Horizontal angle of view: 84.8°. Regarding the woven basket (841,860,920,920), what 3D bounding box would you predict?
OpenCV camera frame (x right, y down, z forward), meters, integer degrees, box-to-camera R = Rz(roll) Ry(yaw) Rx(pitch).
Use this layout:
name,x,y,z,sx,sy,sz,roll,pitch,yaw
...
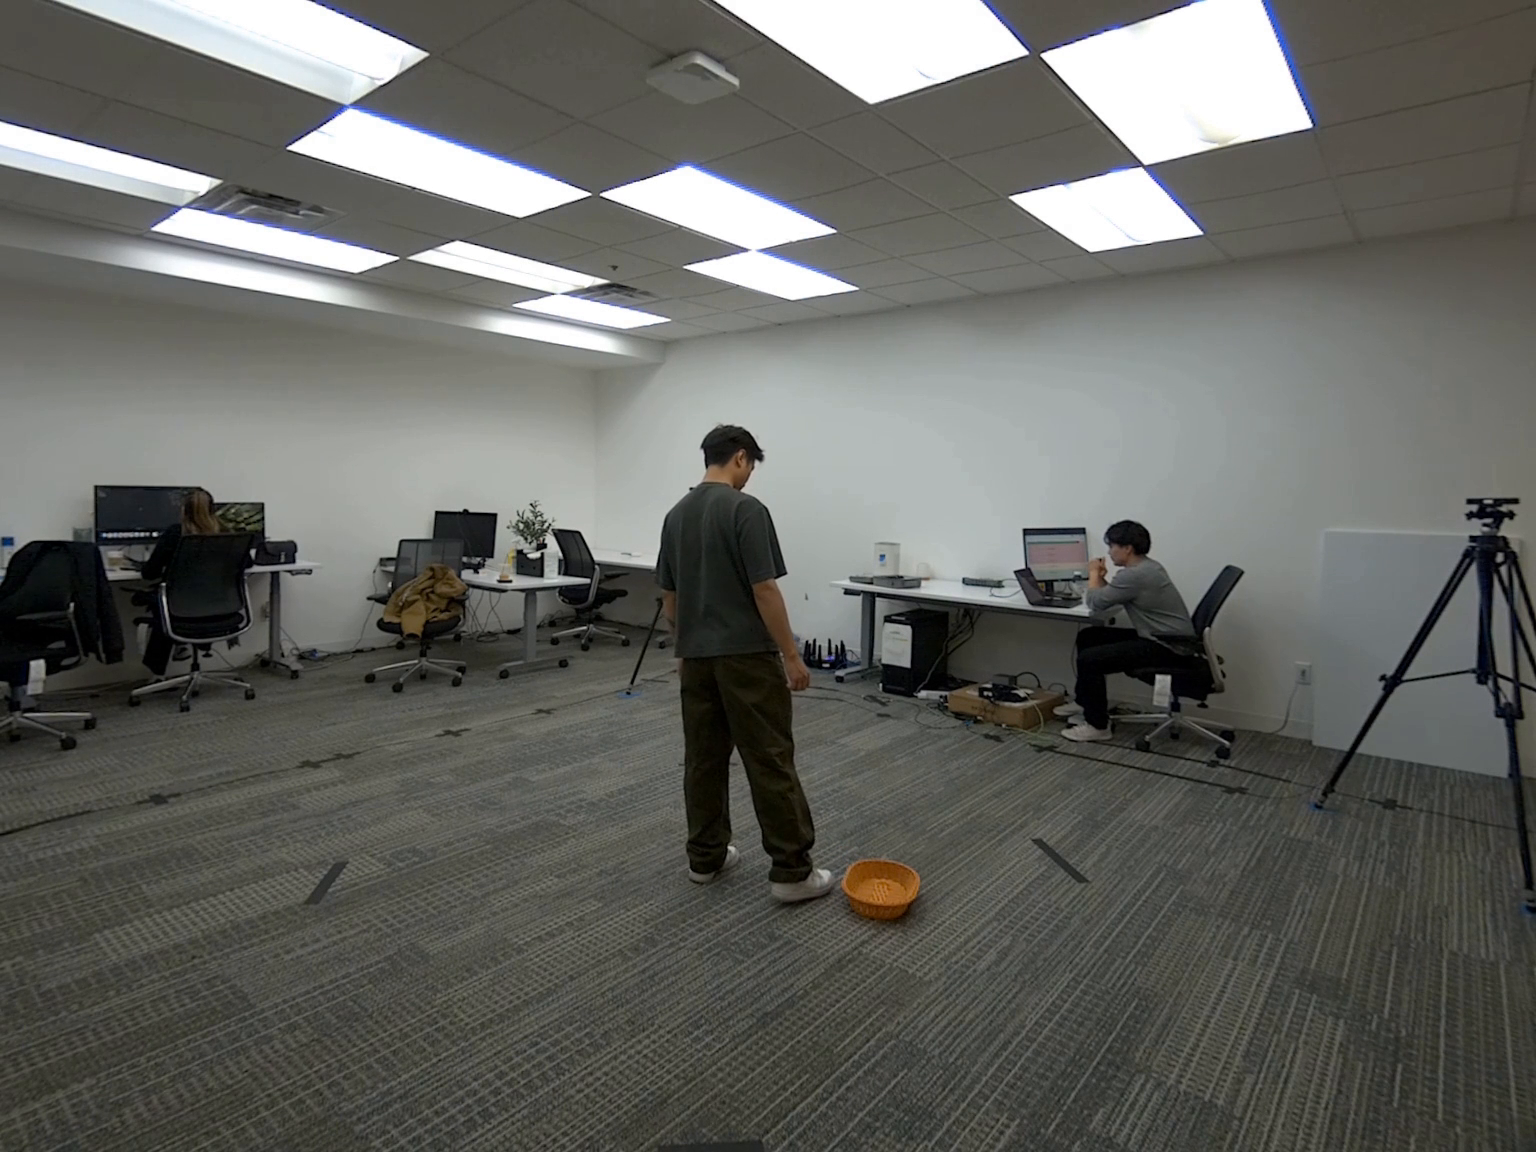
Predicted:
name,x,y,z,sx,sy,sz,roll,pitch,yaw
woven basket,0.374,1.062,2.898,0.258,0.073,0.344,4,6,21
